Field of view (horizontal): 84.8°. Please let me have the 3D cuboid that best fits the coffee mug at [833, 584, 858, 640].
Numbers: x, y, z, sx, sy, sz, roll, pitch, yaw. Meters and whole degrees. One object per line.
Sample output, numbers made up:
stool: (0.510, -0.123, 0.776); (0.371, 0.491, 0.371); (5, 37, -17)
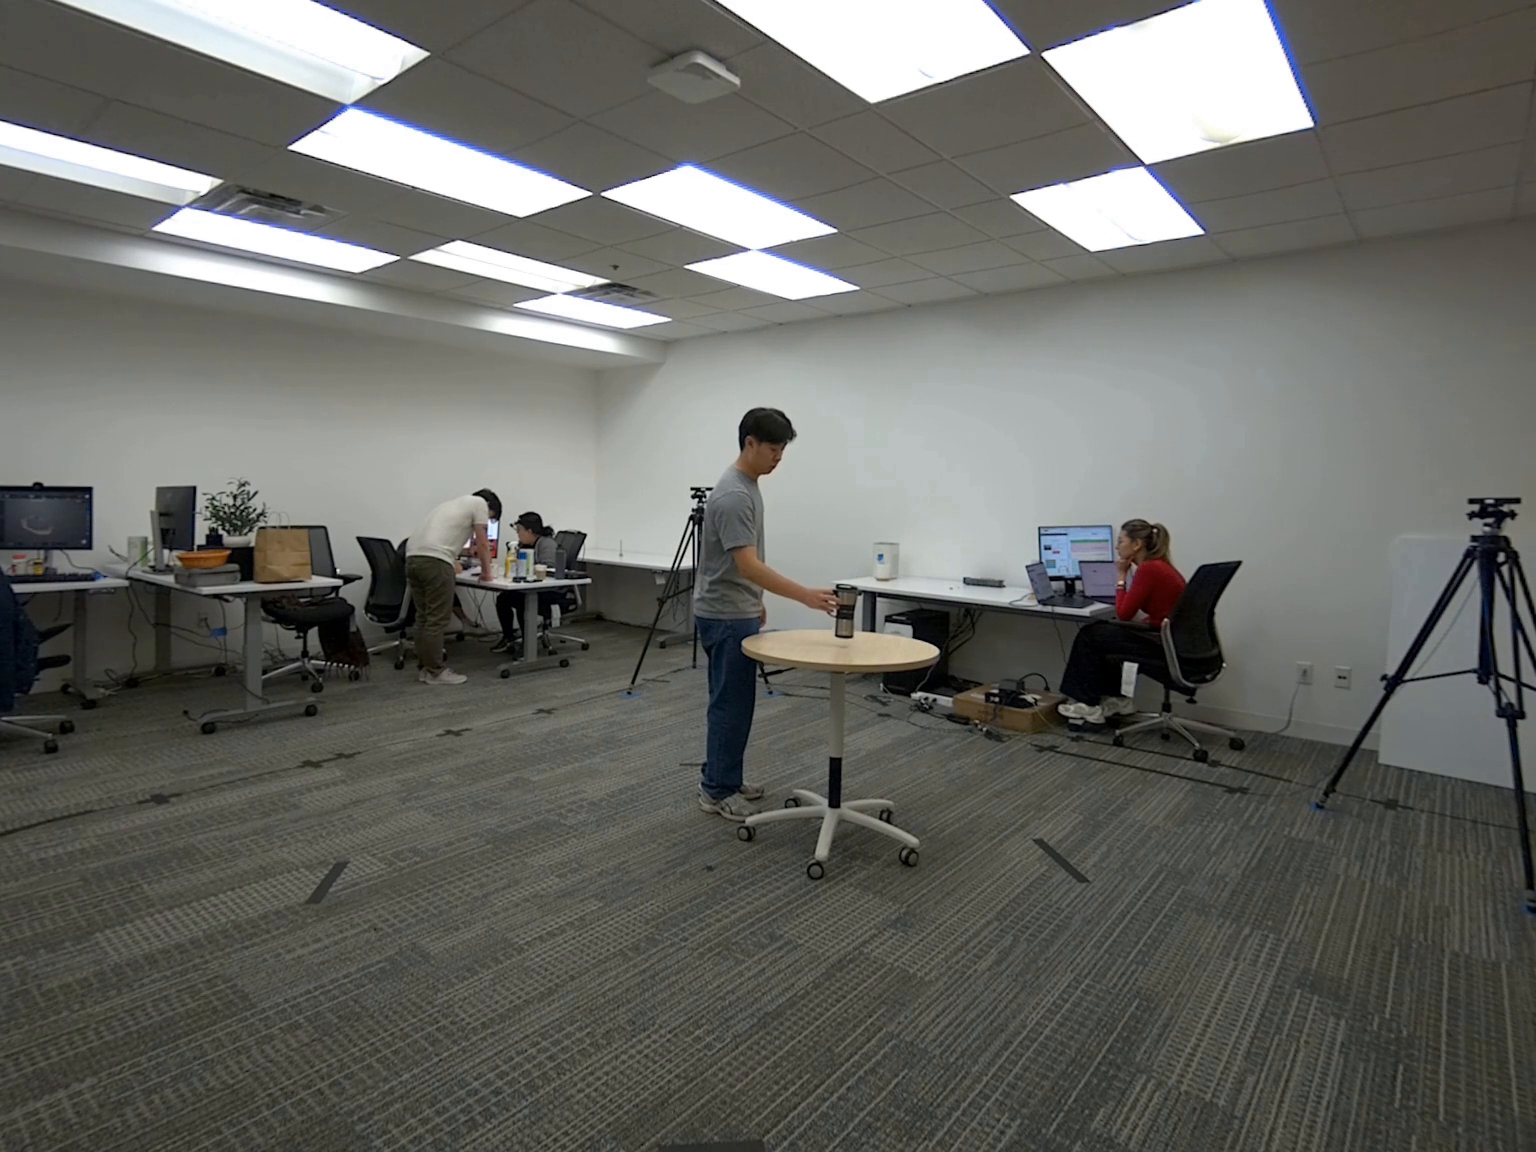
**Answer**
coffee mug: (0.279, 0.131, 3.326); (0.126, 0.202, 0.085); (11, 8, 40)
